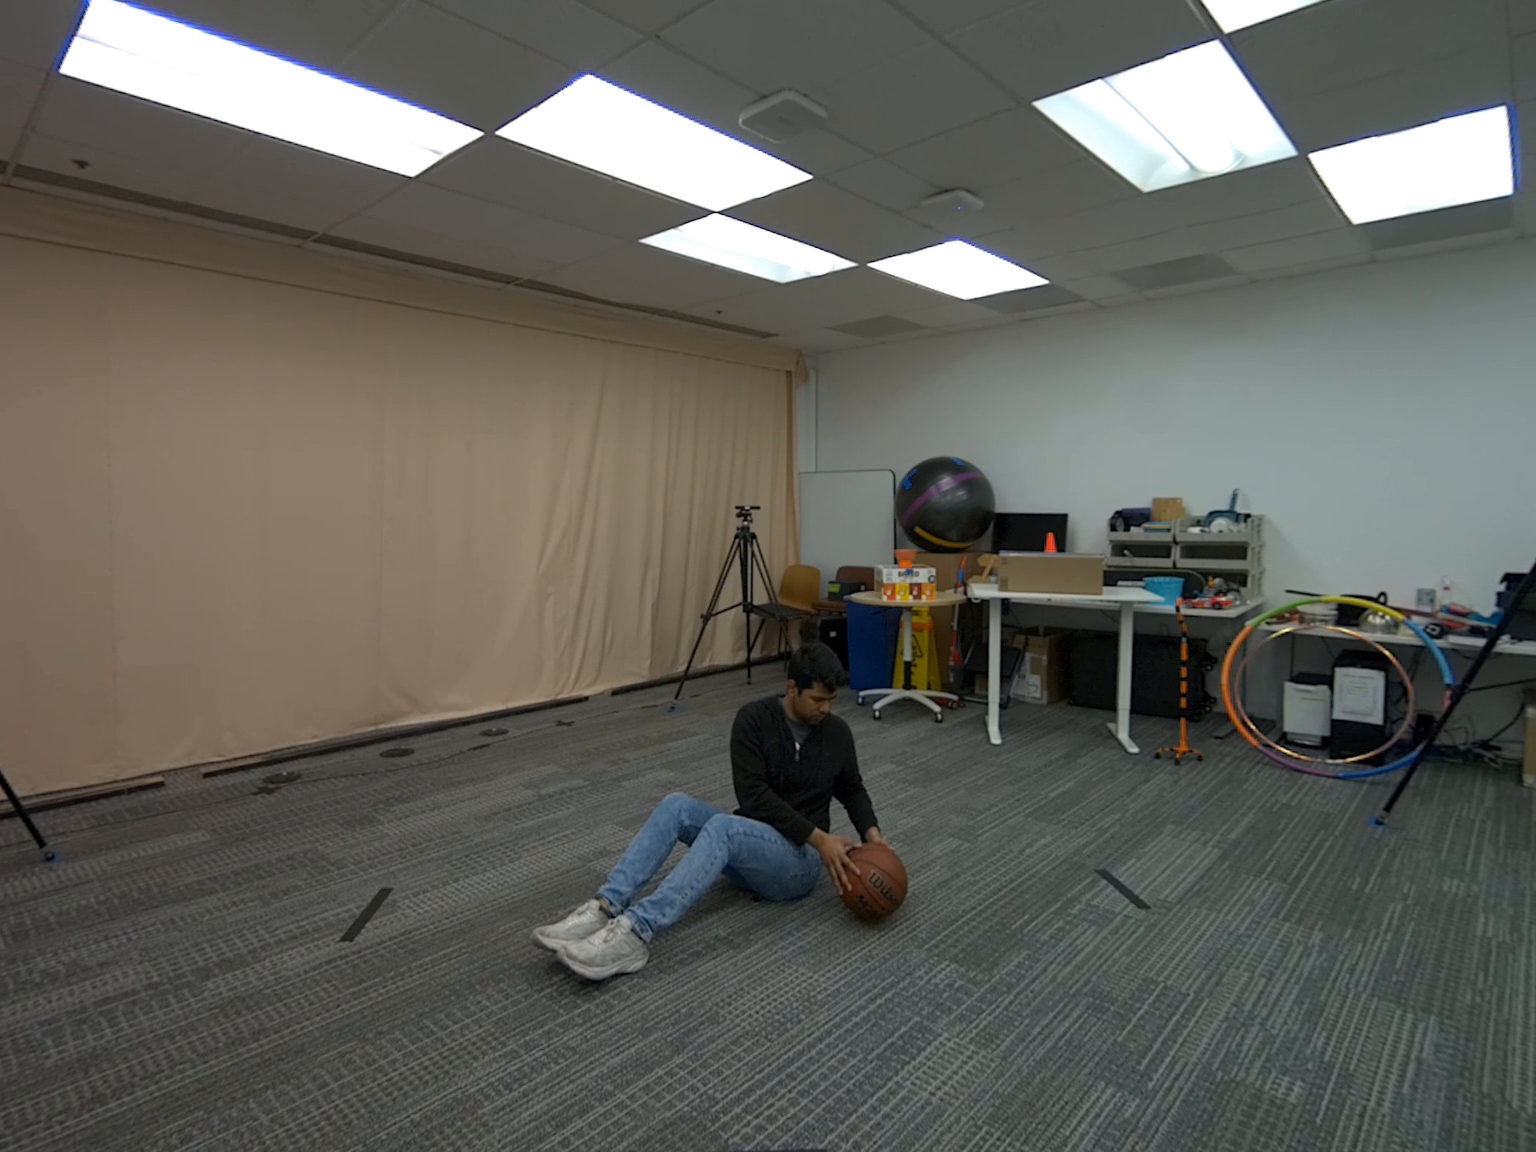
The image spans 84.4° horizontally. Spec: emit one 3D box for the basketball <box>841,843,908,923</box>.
[{"bbox_3d":[0.349,1.014,2.828,0.236,0.235,0.237,0,4,-2],"label":"basketball"}]
